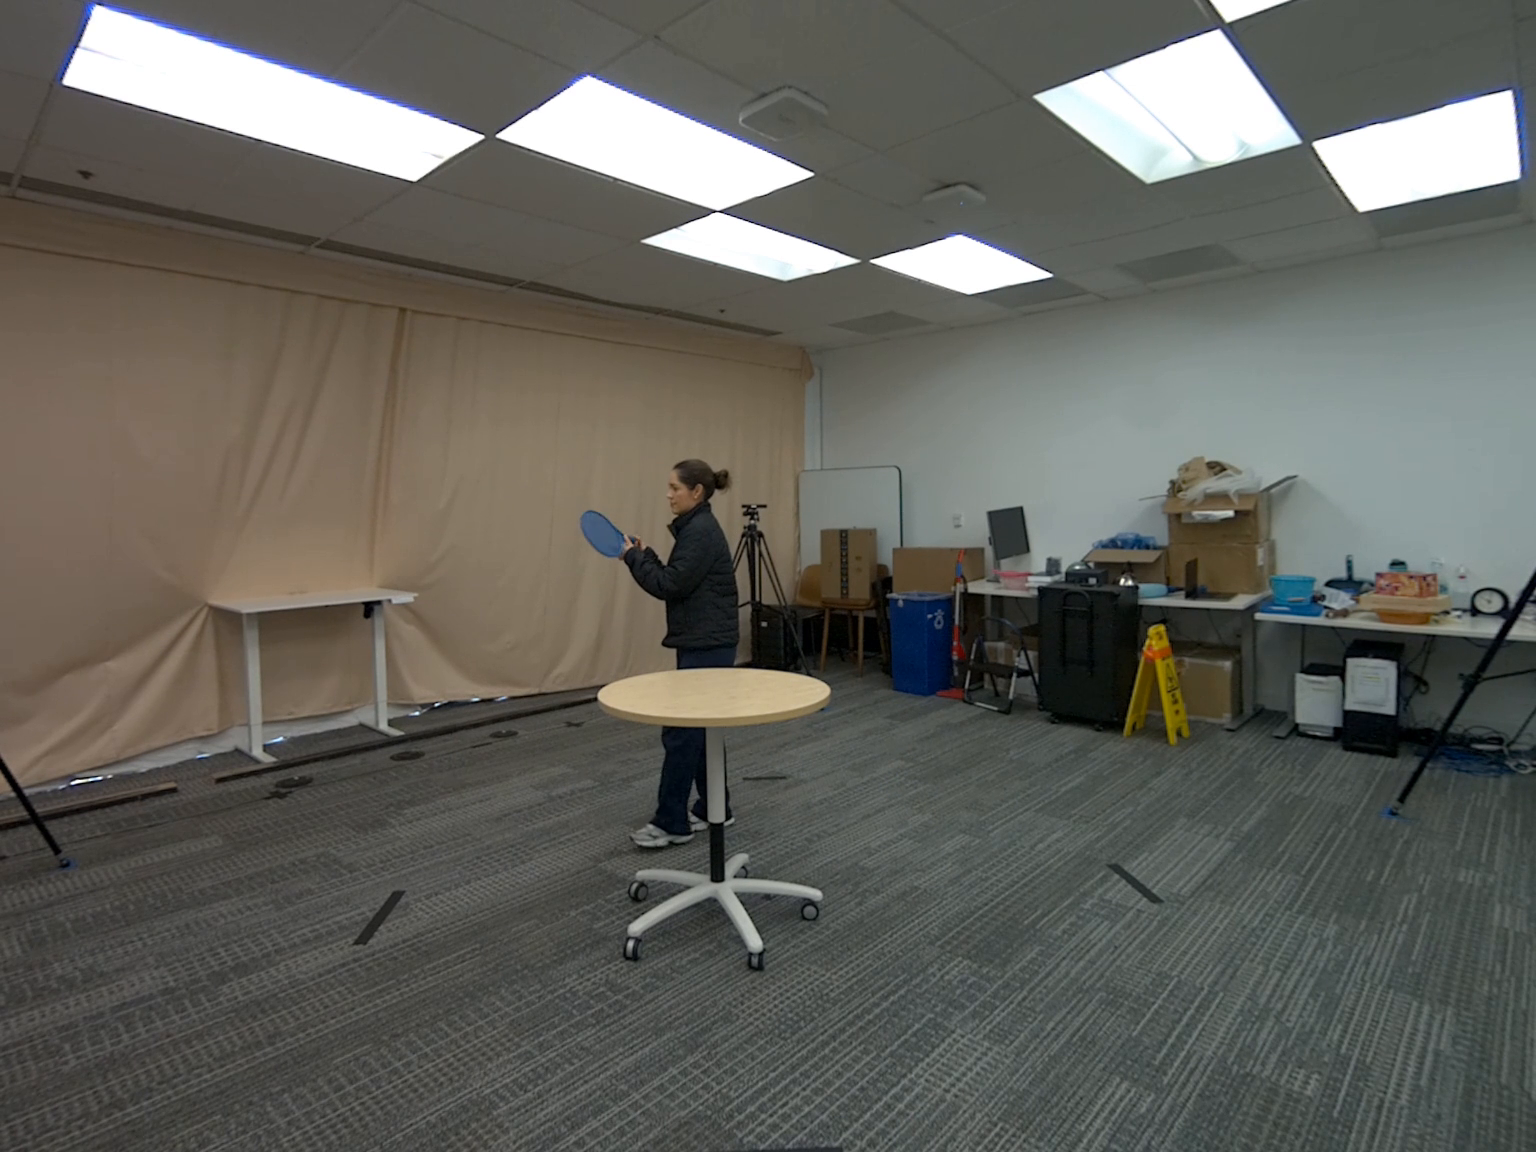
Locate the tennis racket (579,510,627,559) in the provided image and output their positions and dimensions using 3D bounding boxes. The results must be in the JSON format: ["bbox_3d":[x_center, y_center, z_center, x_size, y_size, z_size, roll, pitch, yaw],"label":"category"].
[{"bbox_3d":[-0.629,-0.140,3.500,0.032,0.219,0.418,-32,-46,14],"label":"tennis racket"}]
